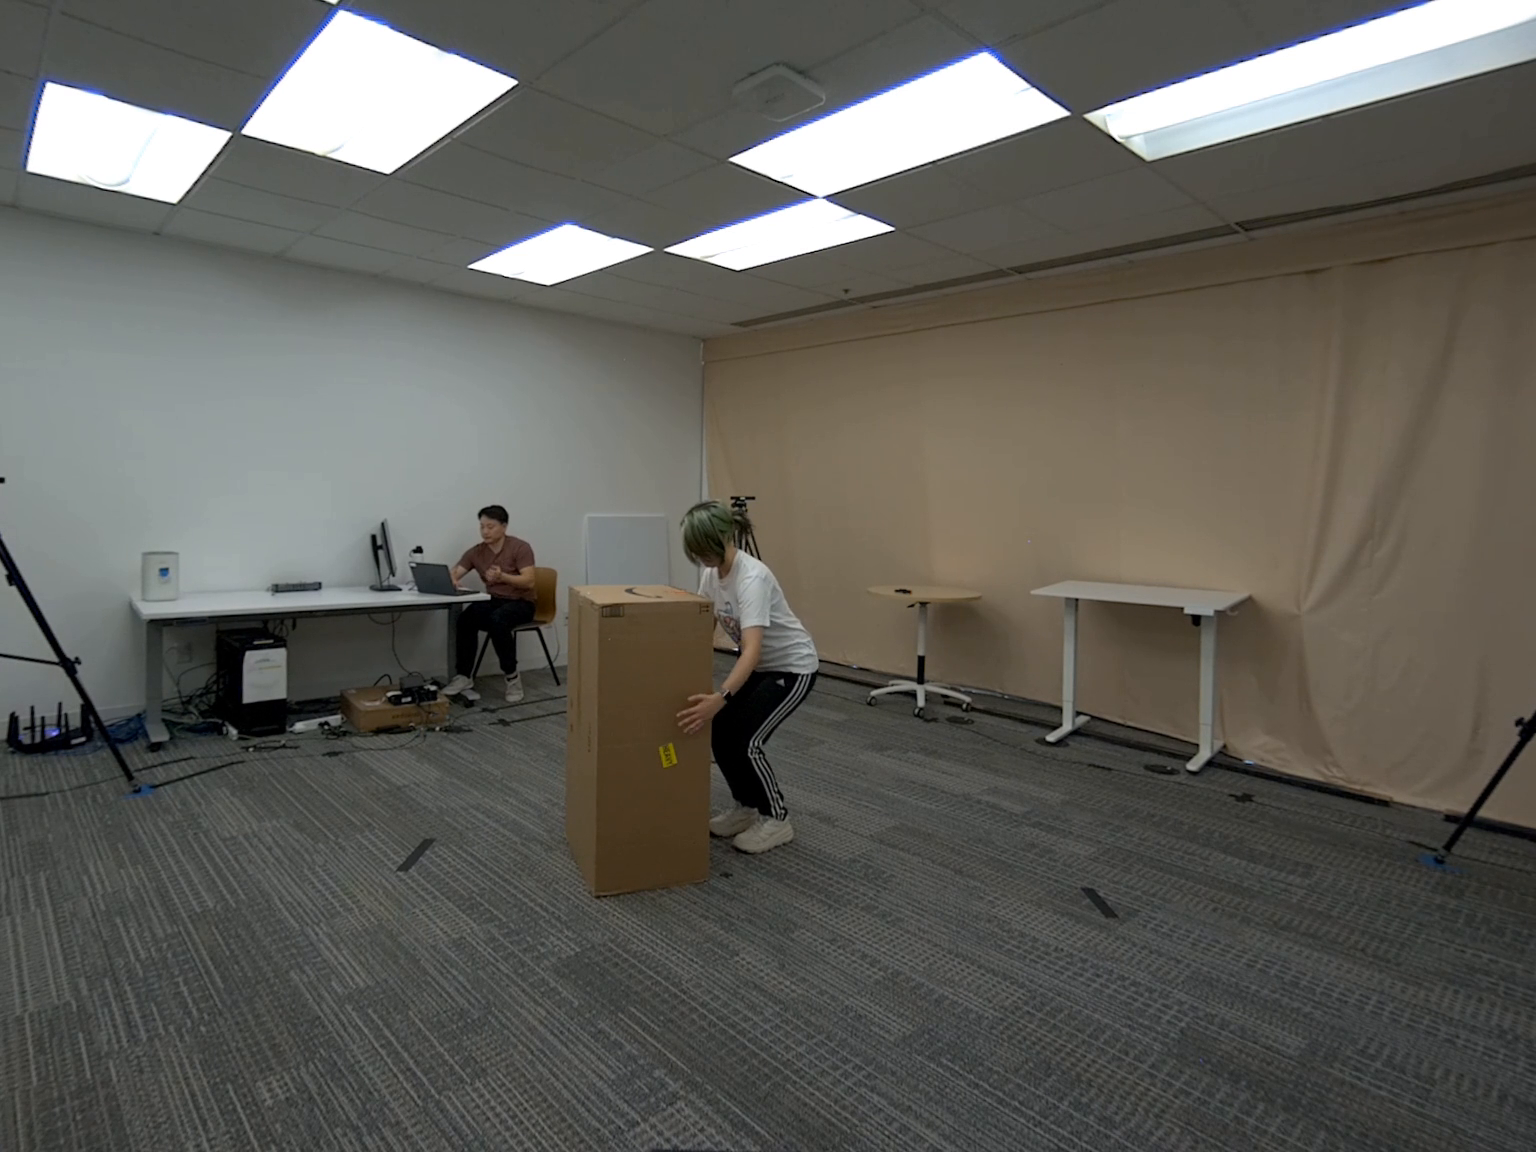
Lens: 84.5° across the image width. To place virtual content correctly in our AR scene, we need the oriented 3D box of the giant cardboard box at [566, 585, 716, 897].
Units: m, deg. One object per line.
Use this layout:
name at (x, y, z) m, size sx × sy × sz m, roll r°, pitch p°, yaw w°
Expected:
giant cardboard box at (-0.517, 0.576, 3.217) m, size 0.419 × 1.024 × 0.588 m, roll 0°, pitch 3°, yaw -23°
